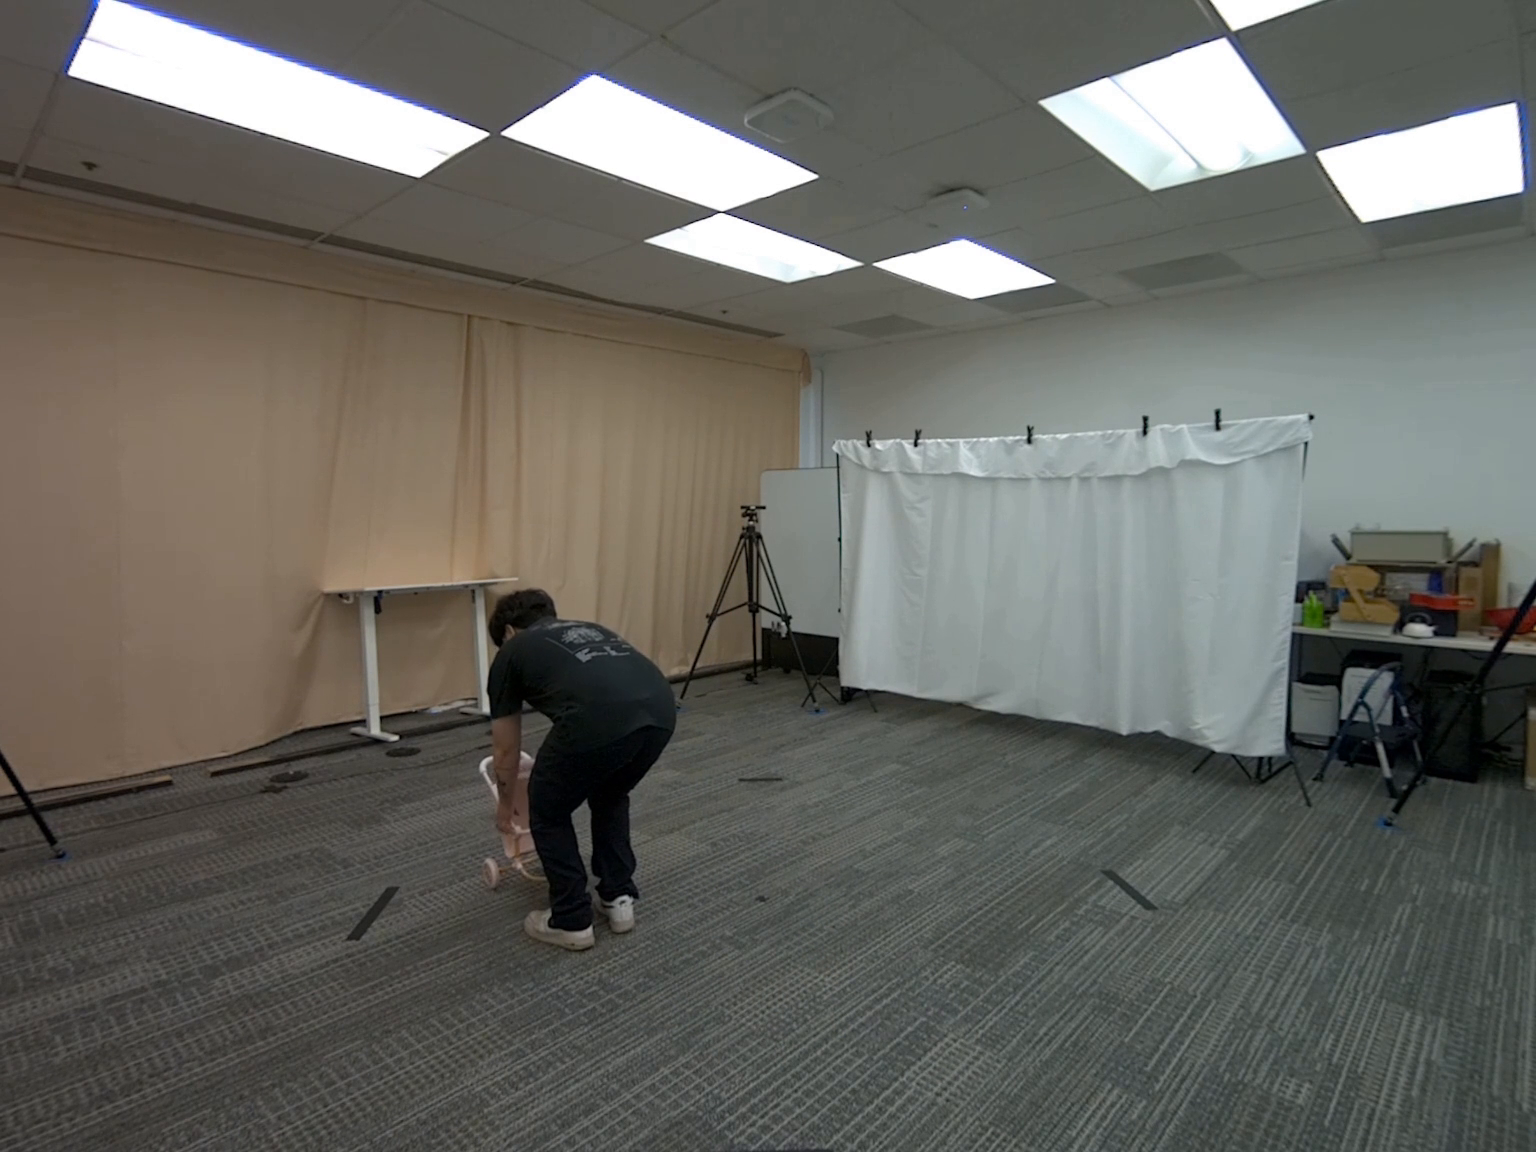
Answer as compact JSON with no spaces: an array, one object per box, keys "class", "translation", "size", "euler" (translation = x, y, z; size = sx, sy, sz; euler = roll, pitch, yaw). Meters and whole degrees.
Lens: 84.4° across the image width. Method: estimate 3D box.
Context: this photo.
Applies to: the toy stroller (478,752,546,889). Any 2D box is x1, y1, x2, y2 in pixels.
[{"class":"toy stroller","translation":[-0.889,0.924,3.106],"size":[0.273,0.539,0.349],"euler":[-3,-11,-39]}]
